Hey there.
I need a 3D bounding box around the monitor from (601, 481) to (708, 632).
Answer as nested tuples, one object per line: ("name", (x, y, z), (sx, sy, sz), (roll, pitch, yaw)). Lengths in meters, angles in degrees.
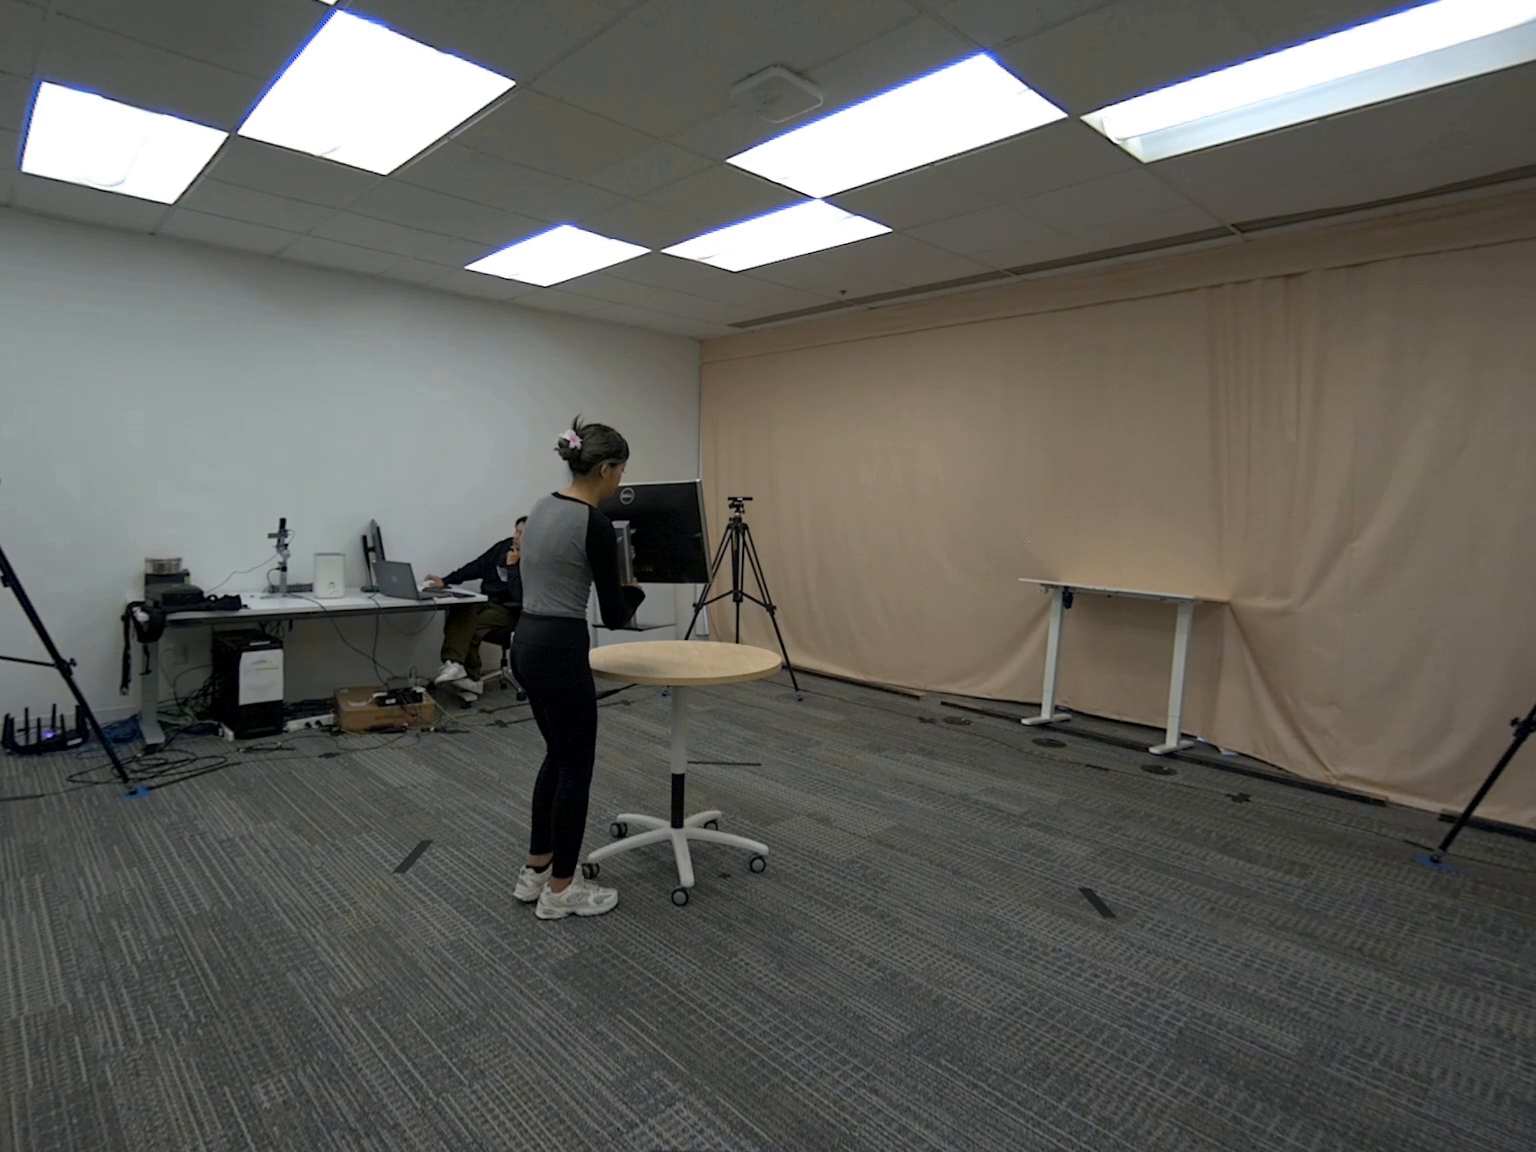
("monitor", (-0.481, -0.068, 2.964), (0.549, 0.522, 0.184), (0, 1, 25))
